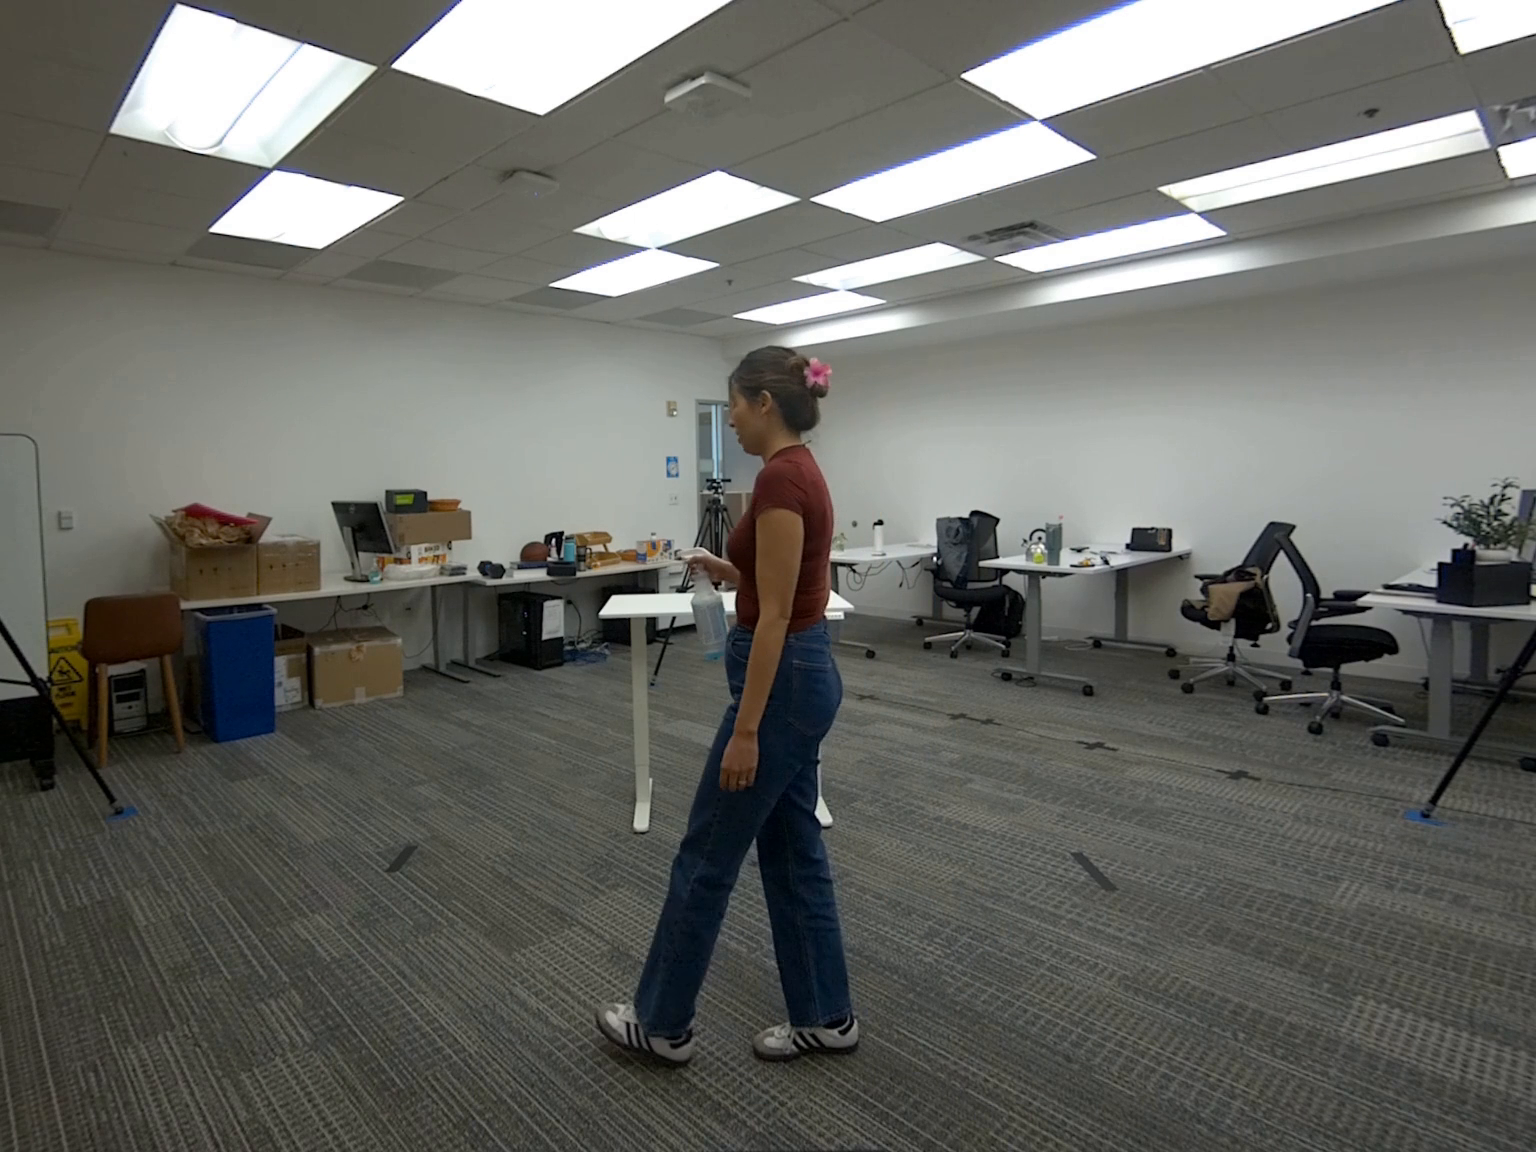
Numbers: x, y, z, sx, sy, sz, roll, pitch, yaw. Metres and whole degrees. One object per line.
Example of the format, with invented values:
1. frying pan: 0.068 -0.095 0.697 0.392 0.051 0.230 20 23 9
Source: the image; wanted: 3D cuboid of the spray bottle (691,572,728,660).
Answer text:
1. spray bottle: -0.162 0.070 2.291 0.092 0.297 0.085 -13 0 36
